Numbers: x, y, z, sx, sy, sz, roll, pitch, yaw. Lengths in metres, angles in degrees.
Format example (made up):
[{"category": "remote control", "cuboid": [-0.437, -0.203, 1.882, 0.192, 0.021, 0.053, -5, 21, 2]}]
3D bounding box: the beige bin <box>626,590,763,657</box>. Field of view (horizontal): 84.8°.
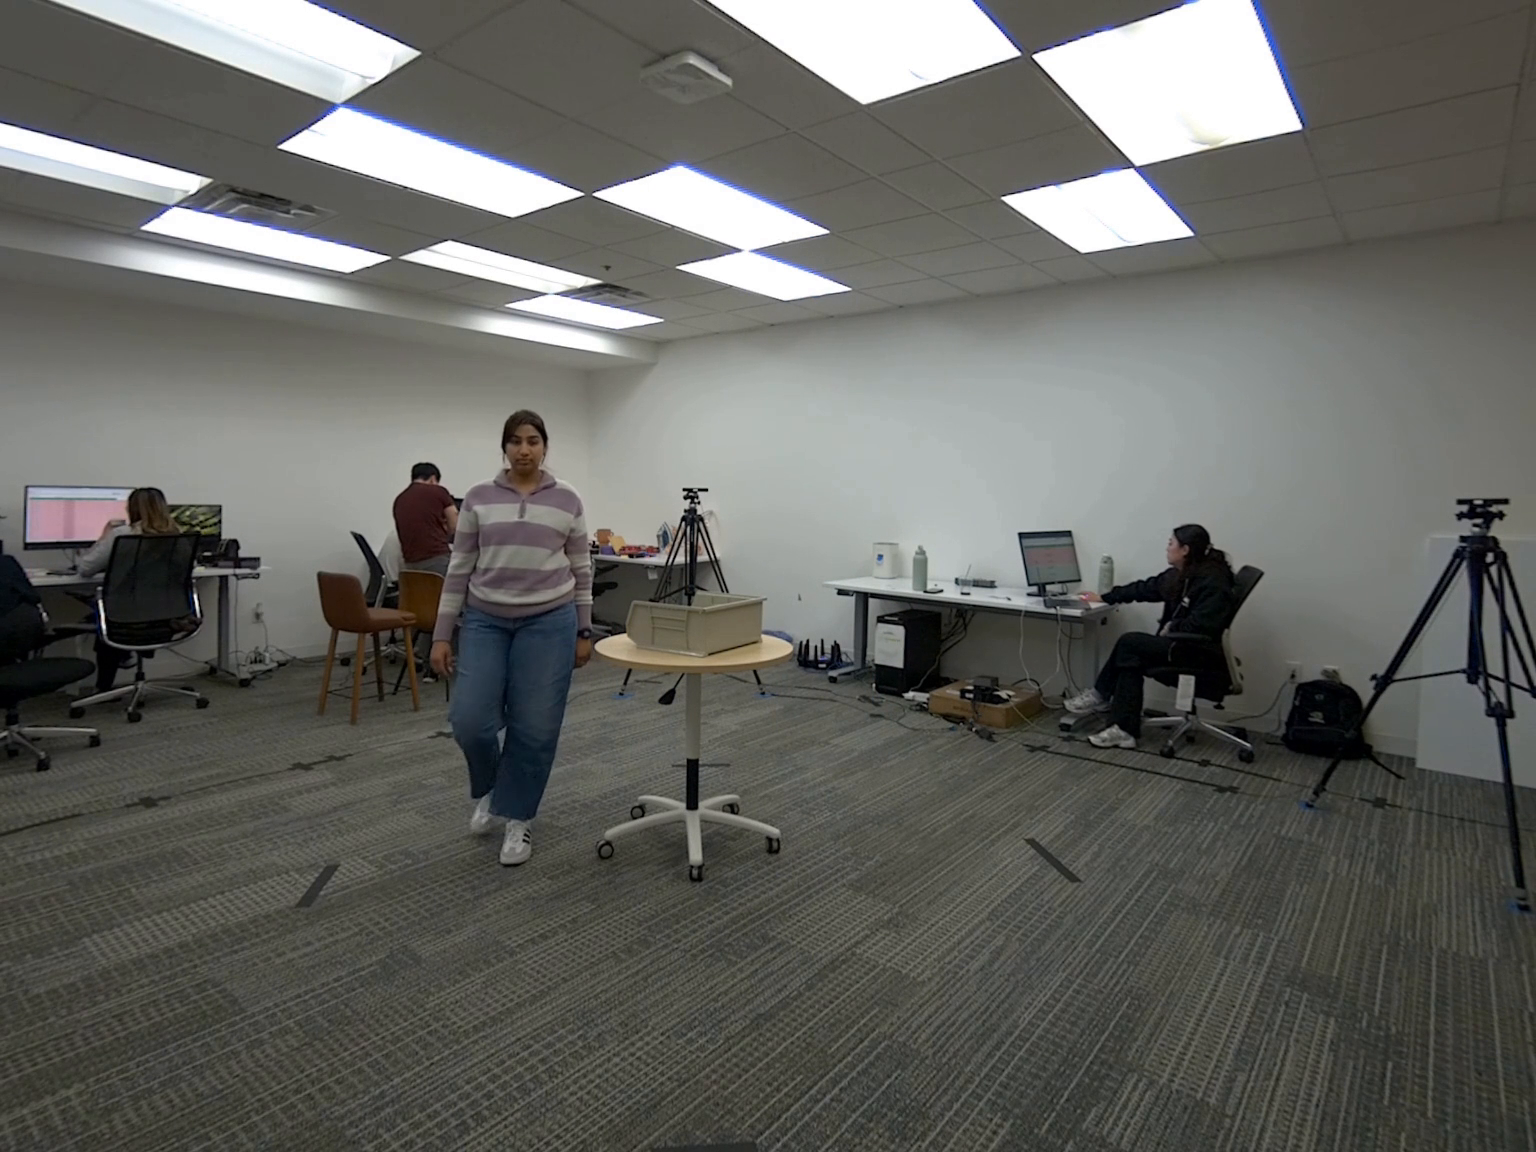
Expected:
[{"category": "beige bin", "cuboid": [-0.286, 0.177, 3.313, 0.389, 0.188, 0.411, 6, 7, 32]}]
